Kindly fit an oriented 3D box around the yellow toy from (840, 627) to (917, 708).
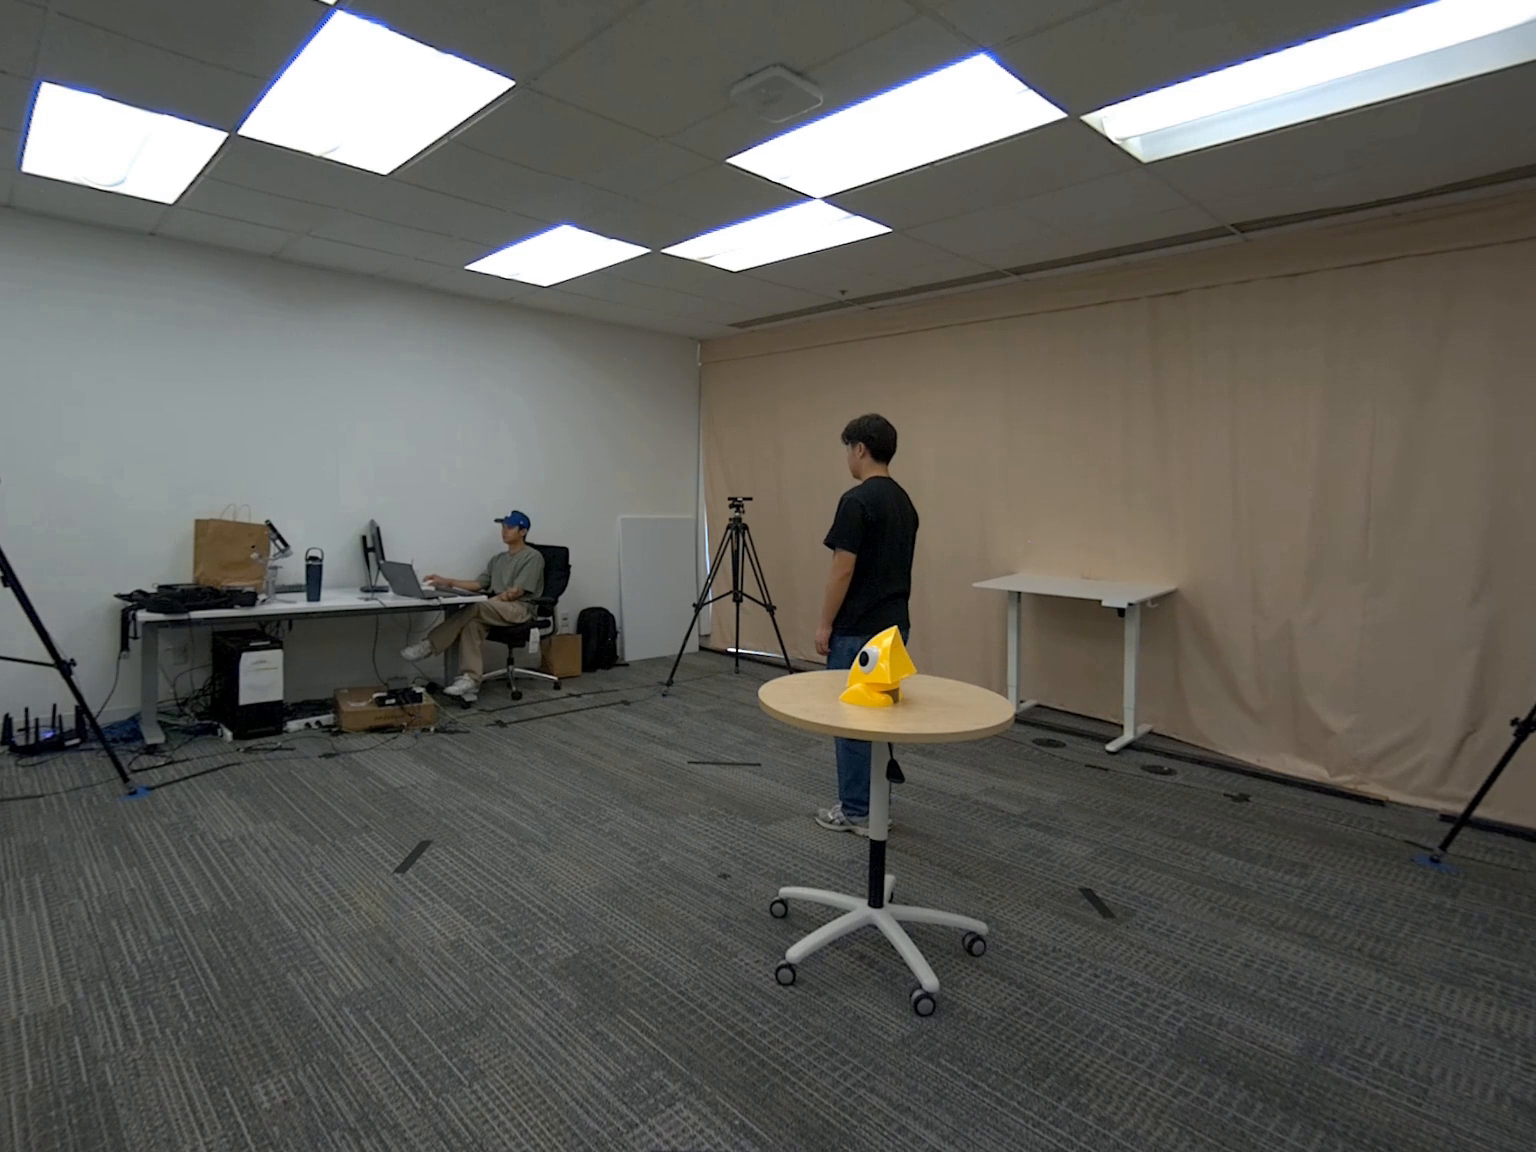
[{"bbox_3d":[0.322,0.260,2.538,0.197,0.230,0.201,4,5,31],"label":"yellow toy"}]
